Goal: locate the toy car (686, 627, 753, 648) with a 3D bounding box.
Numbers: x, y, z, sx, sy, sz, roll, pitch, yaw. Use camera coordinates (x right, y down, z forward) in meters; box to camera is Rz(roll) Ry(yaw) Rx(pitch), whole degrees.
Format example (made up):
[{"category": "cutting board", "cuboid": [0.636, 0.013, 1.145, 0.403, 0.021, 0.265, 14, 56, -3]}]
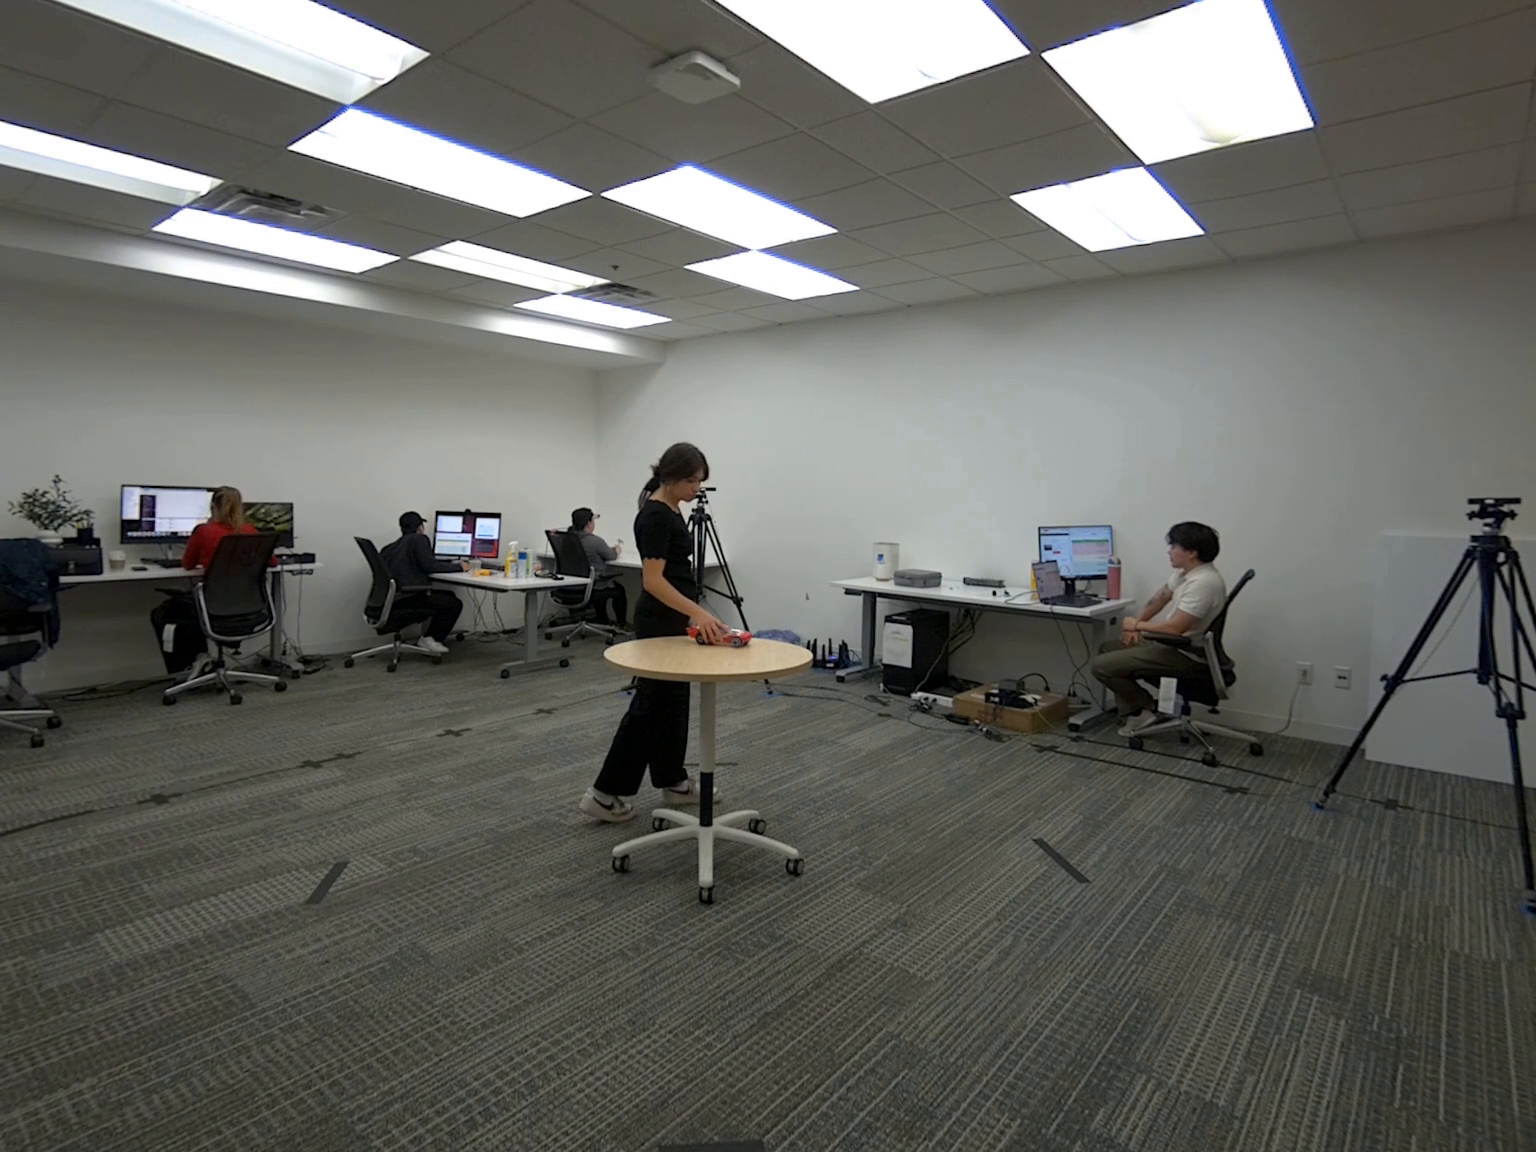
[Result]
[{"category": "toy car", "cuboid": [-0.204, 0.231, 3.325, 0.261, 0.083, 0.128, 15, 9, 19]}]
